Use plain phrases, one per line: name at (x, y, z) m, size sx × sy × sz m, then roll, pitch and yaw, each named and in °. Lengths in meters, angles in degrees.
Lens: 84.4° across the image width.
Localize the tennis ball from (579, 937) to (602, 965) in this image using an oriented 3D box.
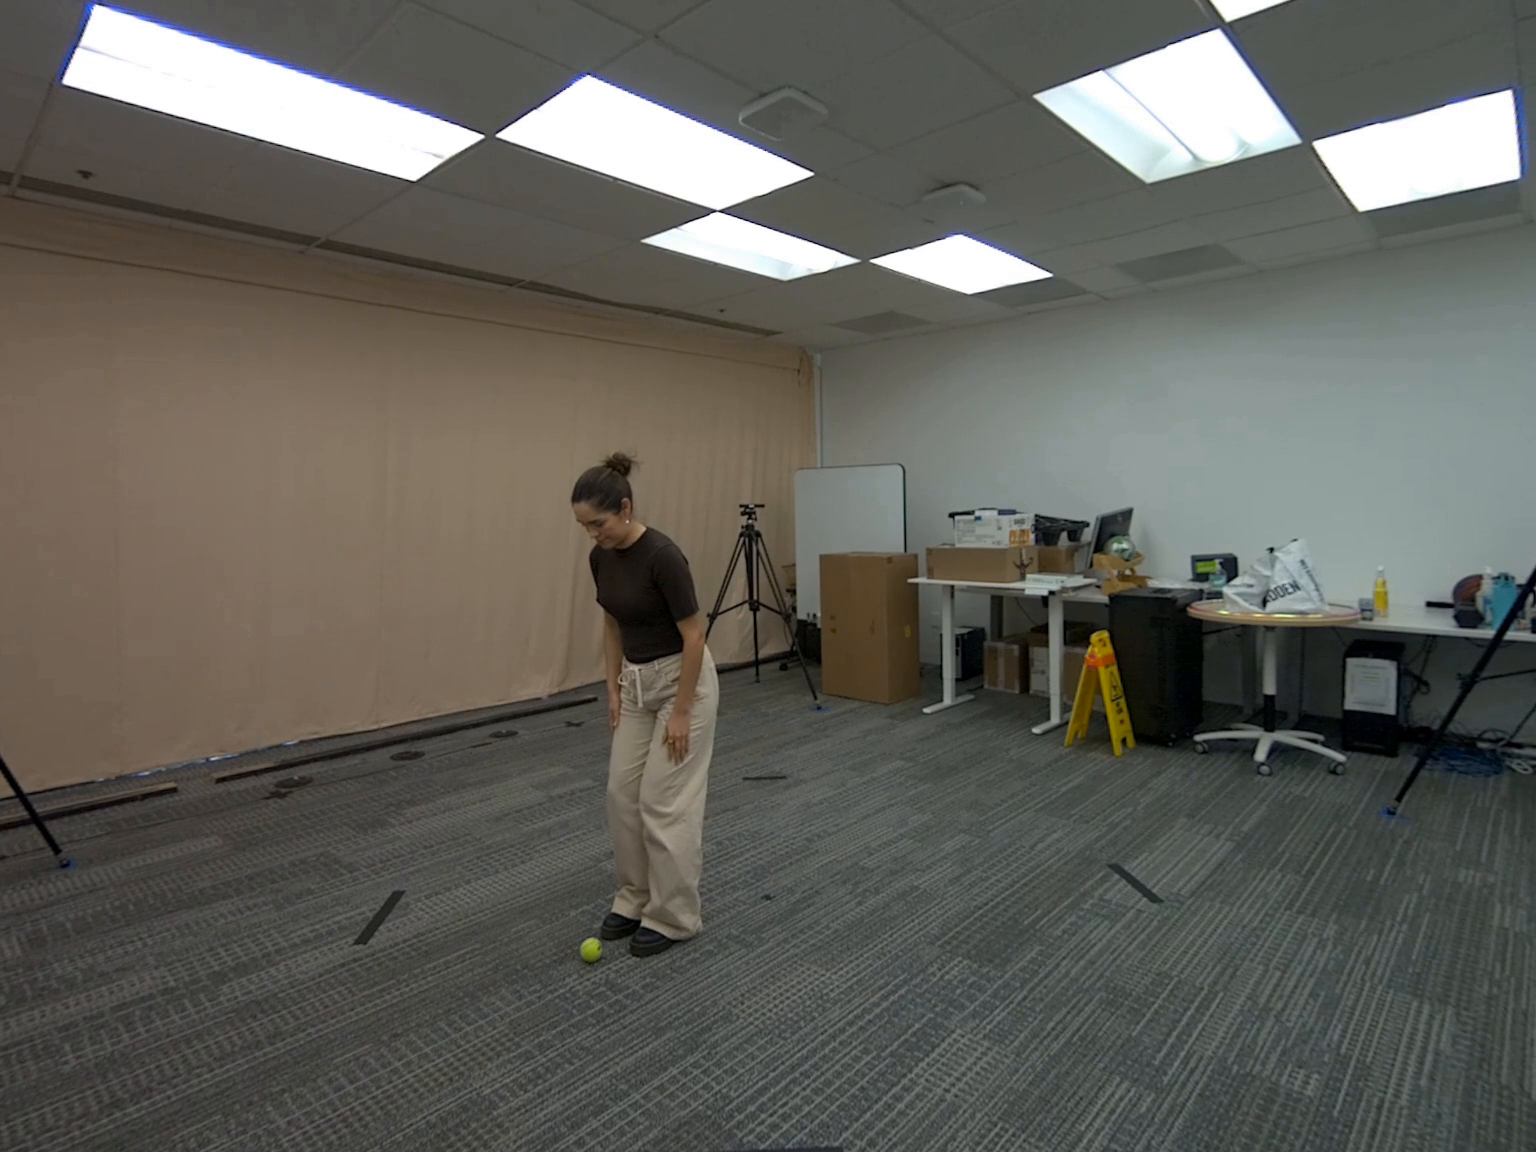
tennis ball at (-0.534, 1.130, 2.600) m, size 0.066 × 0.066 × 0.067 m, roll -1°, pitch 4°, yaw -2°
